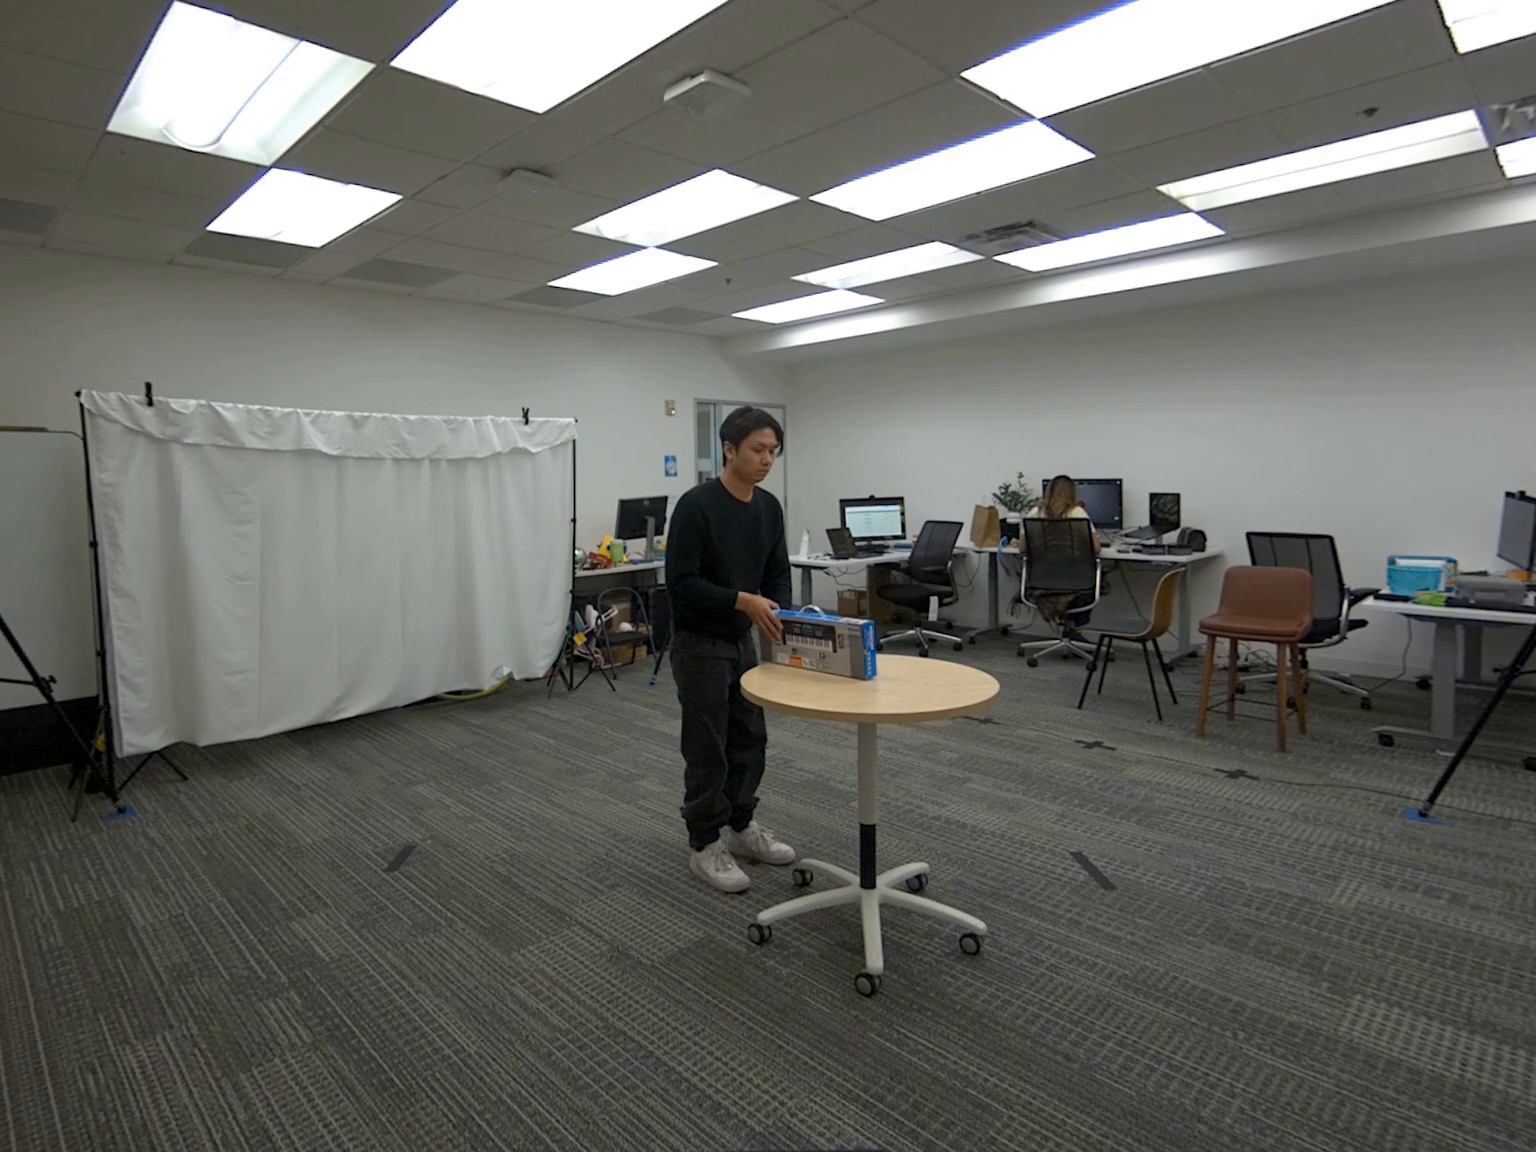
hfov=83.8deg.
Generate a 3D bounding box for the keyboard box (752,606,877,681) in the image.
[{"bbox_3d":[0.150,0.213,2.723,0.057,0.175,0.450,-8,9,-44],"label":"keyboard box"}]
